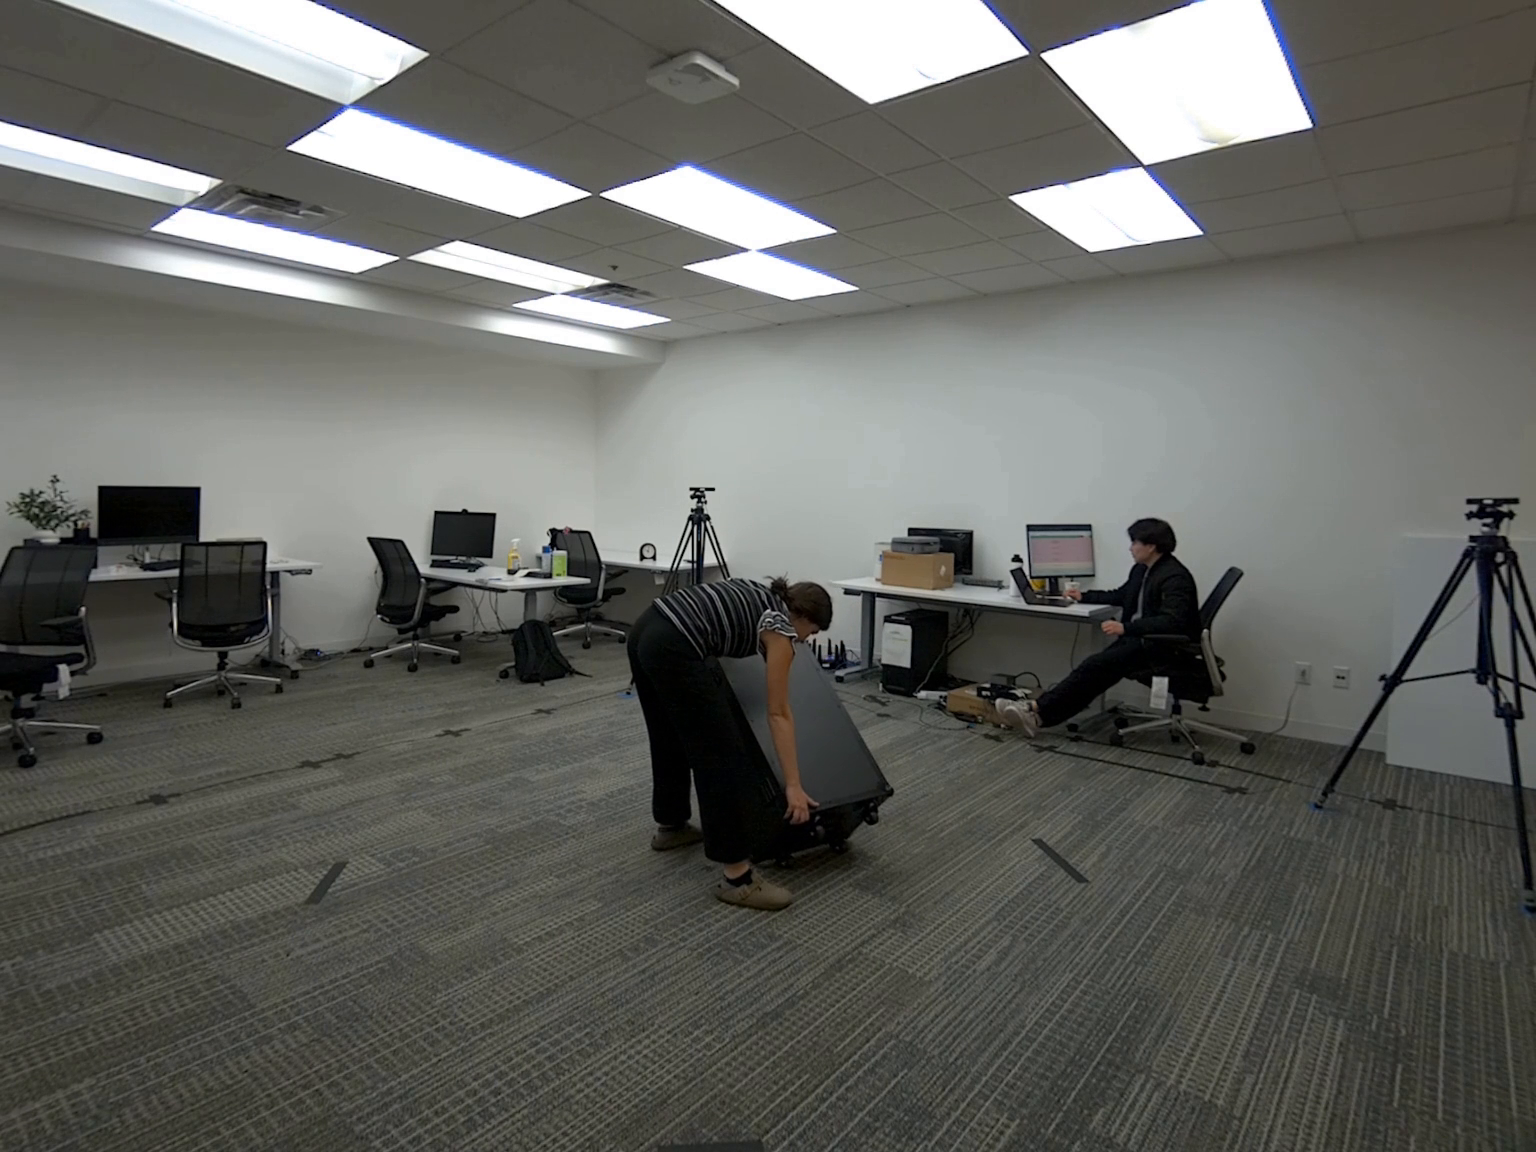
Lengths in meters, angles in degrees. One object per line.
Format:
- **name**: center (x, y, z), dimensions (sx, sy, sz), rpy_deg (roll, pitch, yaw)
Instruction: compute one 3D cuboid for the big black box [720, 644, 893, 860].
- **big black box**: center (0.045, 0.668, 3.377), dimensions (0.506, 0.392, 0.895), rpy_deg (-3, 47, -36)
